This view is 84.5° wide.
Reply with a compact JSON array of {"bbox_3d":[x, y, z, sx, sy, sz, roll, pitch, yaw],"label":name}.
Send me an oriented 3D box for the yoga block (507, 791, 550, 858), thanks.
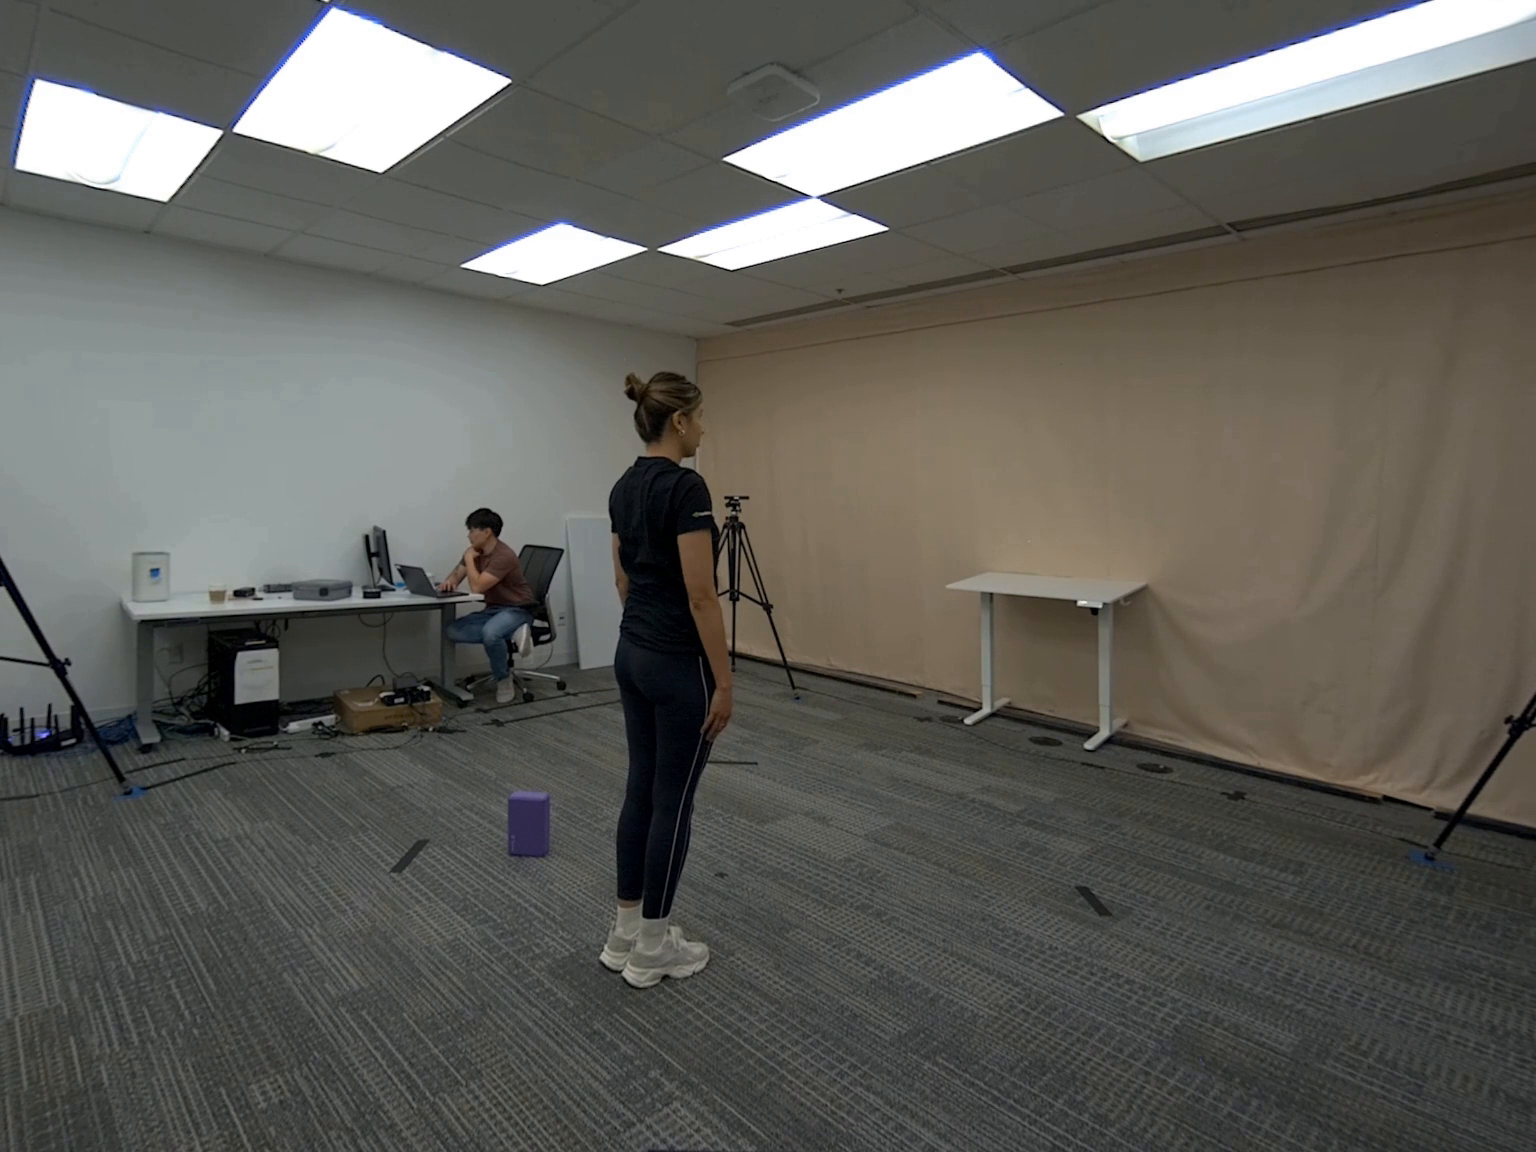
[{"bbox_3d":[-0.934,0.960,3.252,0.150,0.228,0.076,2,4,8],"label":"yoga block"}]
